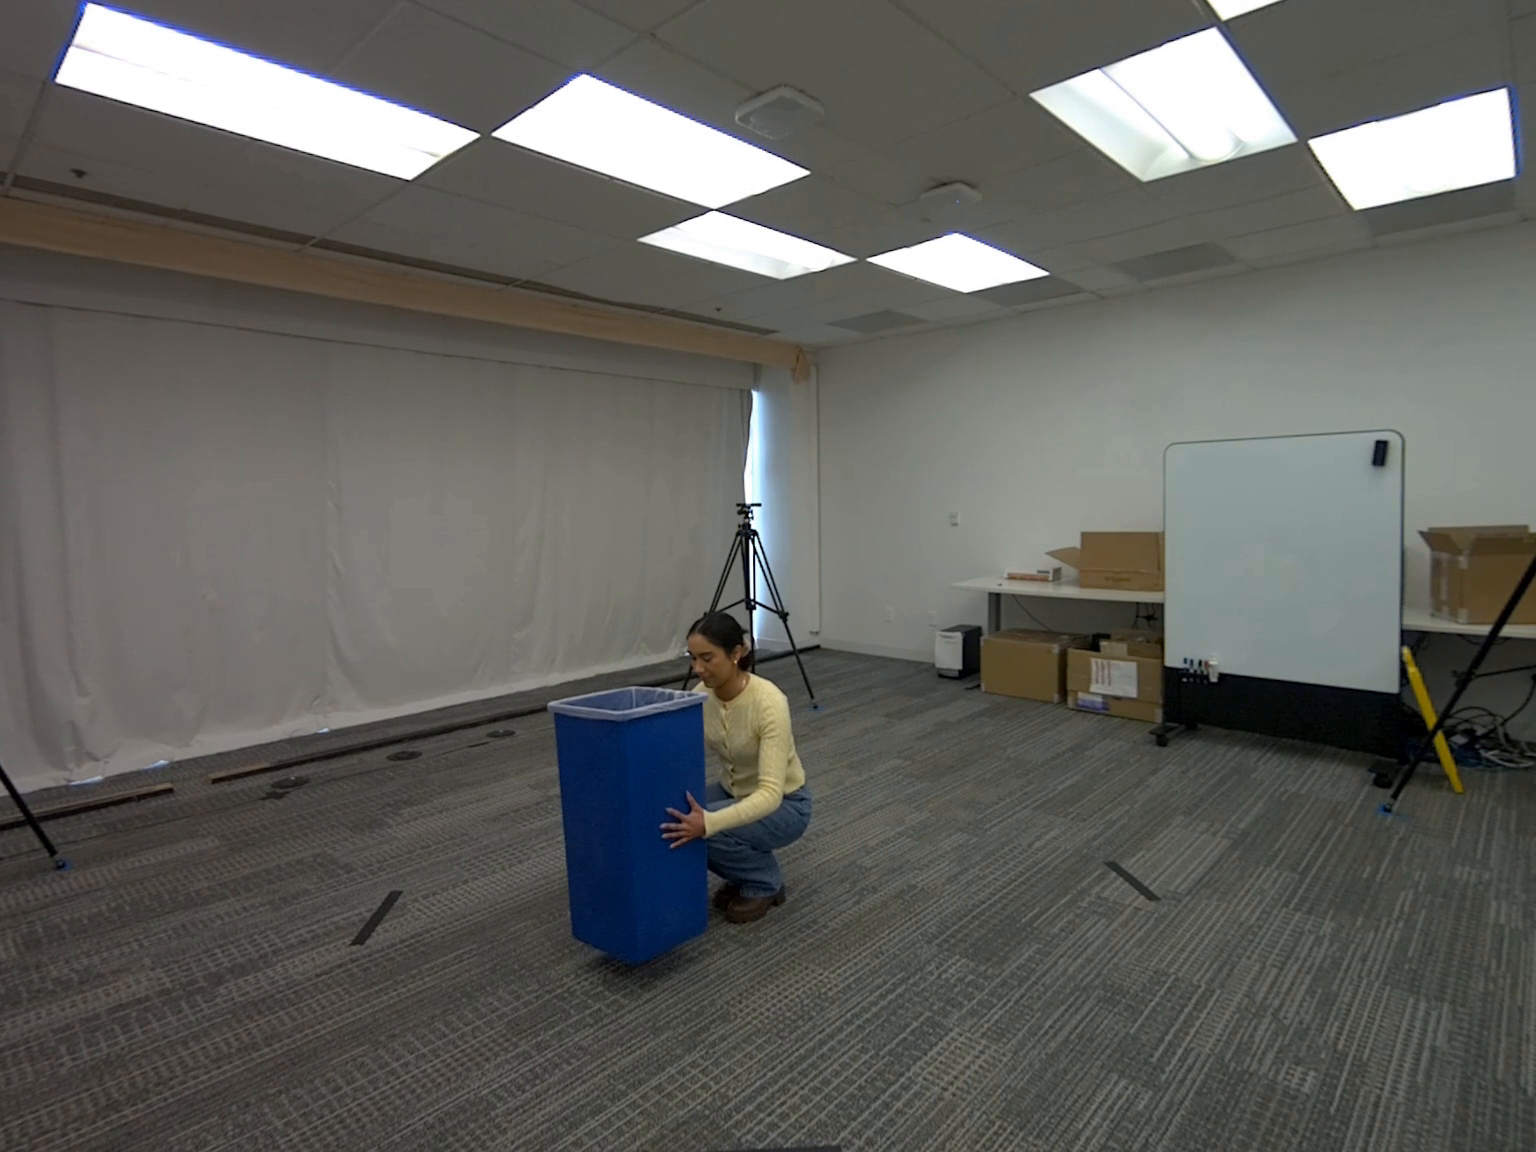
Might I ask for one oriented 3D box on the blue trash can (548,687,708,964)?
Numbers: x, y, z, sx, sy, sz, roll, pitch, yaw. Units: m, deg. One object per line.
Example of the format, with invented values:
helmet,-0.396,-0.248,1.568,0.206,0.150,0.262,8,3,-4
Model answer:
blue trash can,-0.409,0.728,2.559,0.390,0.714,0.362,-4,-1,42
